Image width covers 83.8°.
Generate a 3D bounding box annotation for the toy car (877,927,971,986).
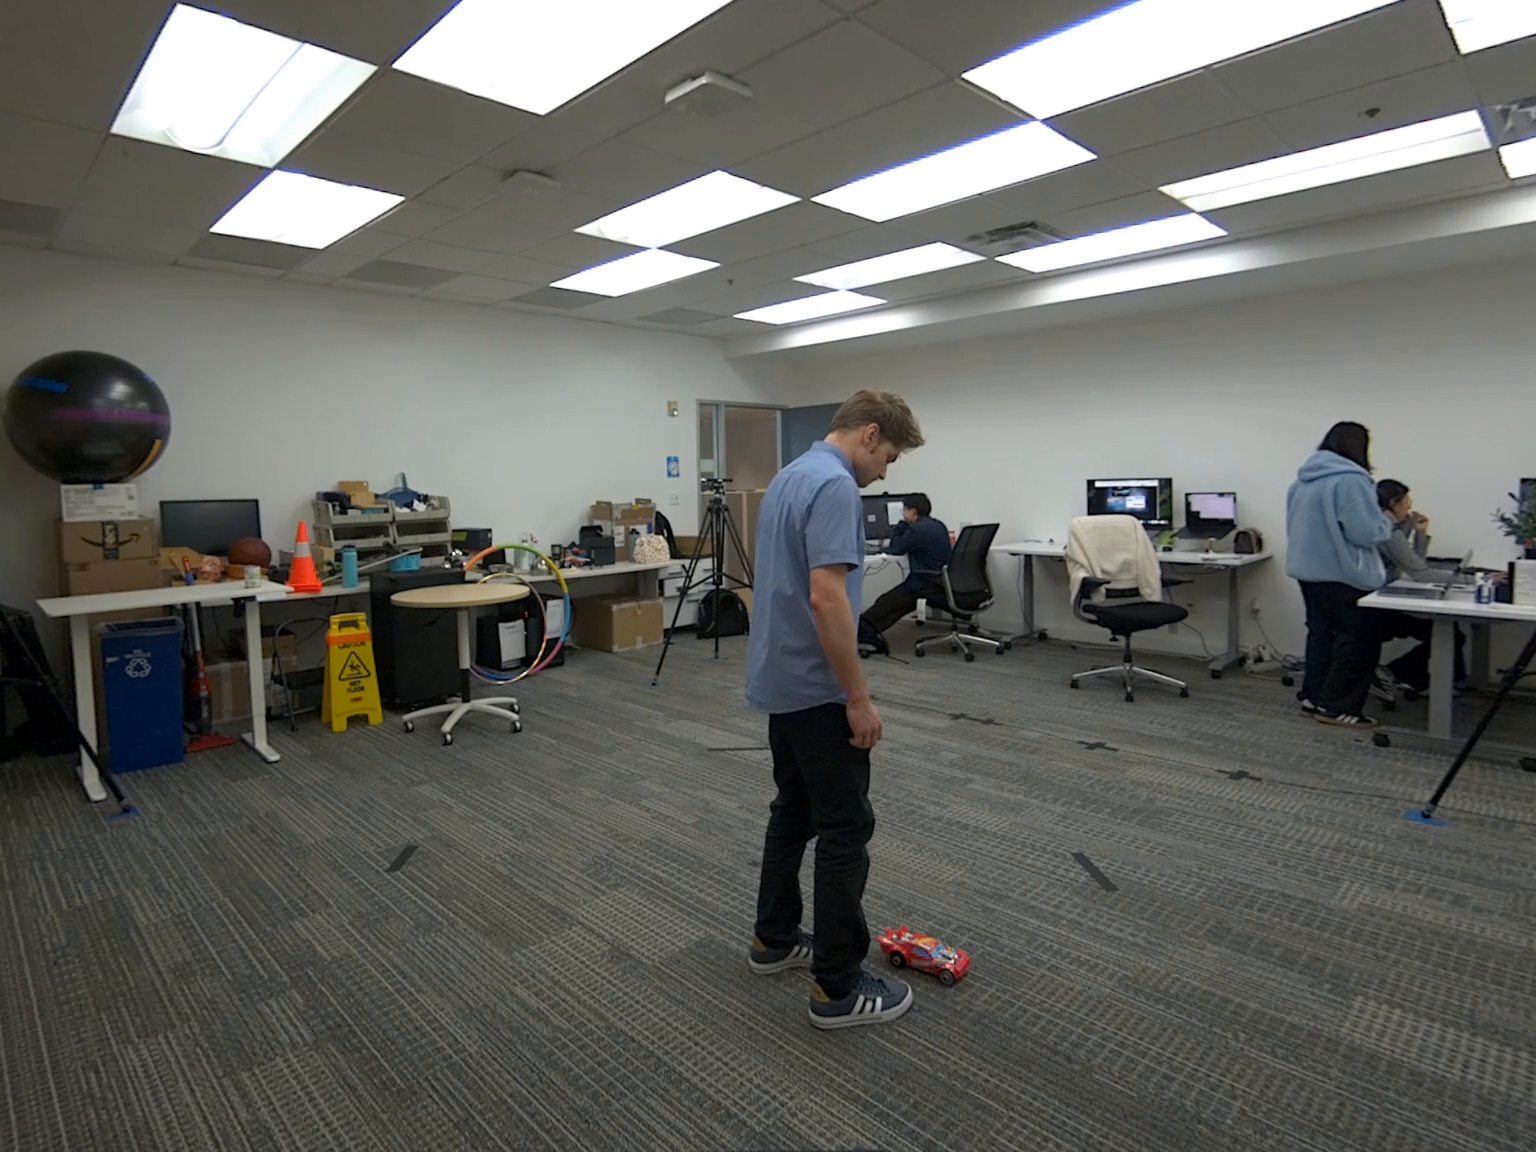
[{"bbox_3d":[0.453,1.087,2.441,0.263,0.082,0.127,15,14,33],"label":"toy car"}]
